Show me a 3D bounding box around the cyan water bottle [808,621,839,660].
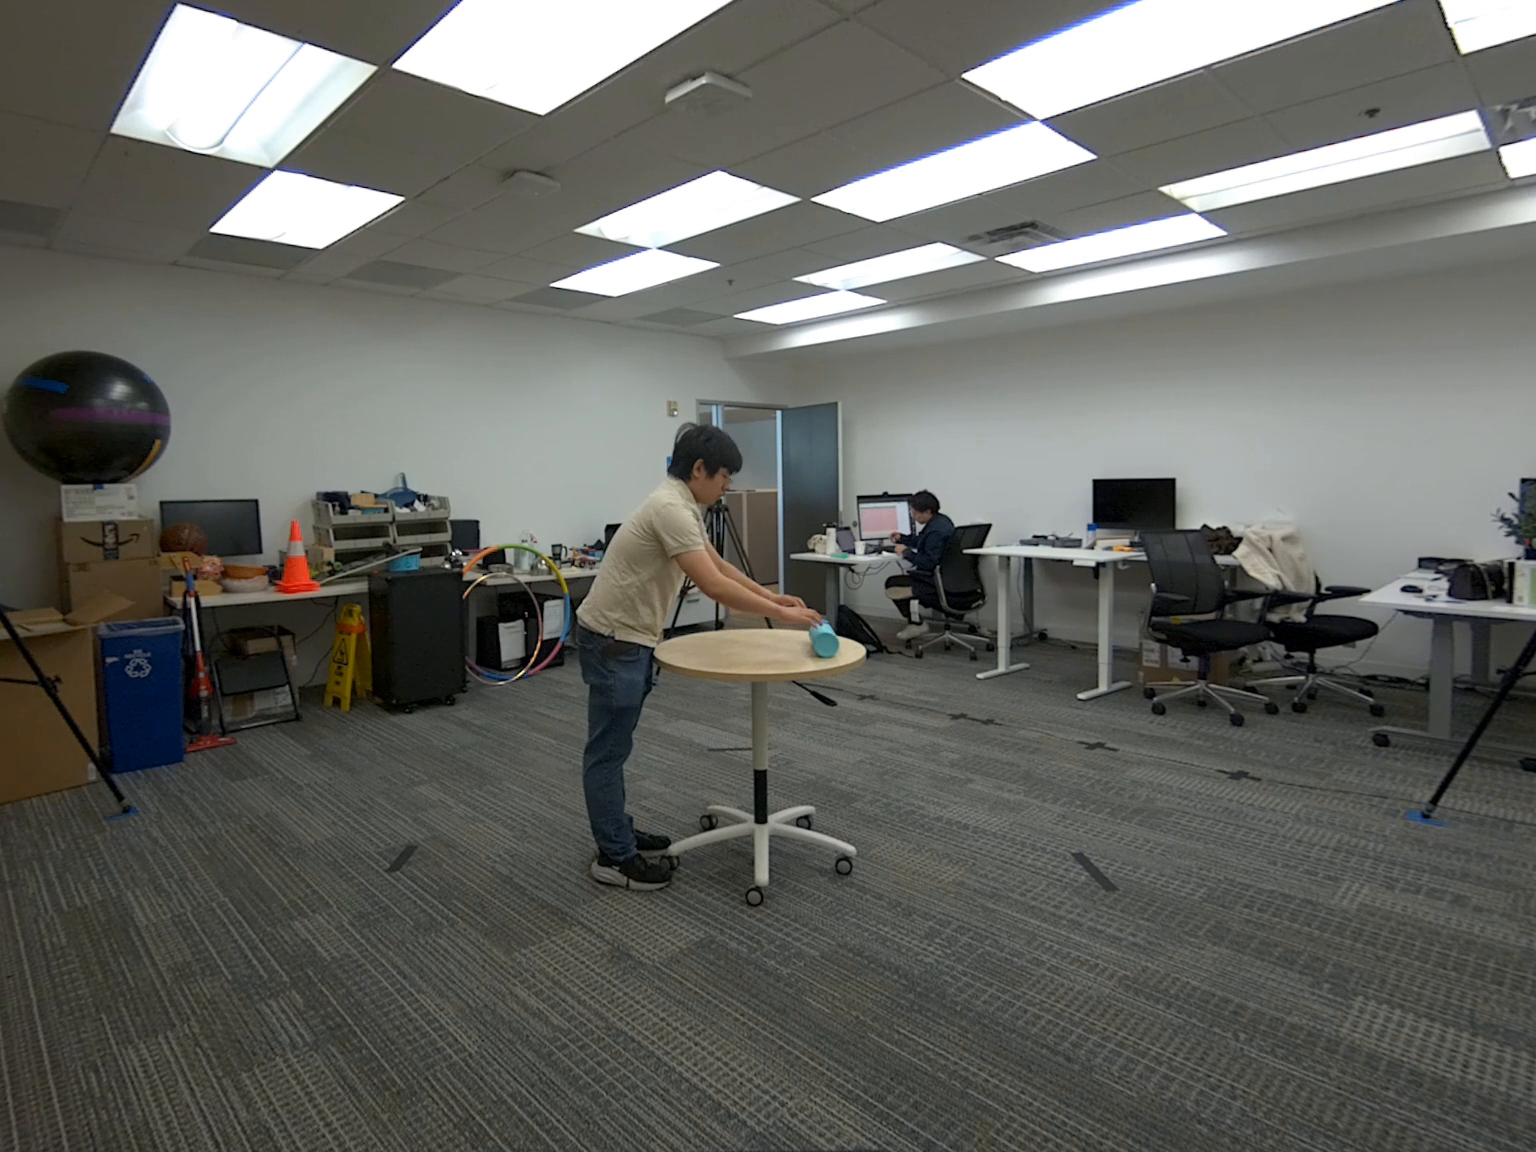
[{"bbox_3d":[0.194,0.216,3.052,0.092,0.092,0.285,-1,7,-1],"label":"cyan water bottle"}]
